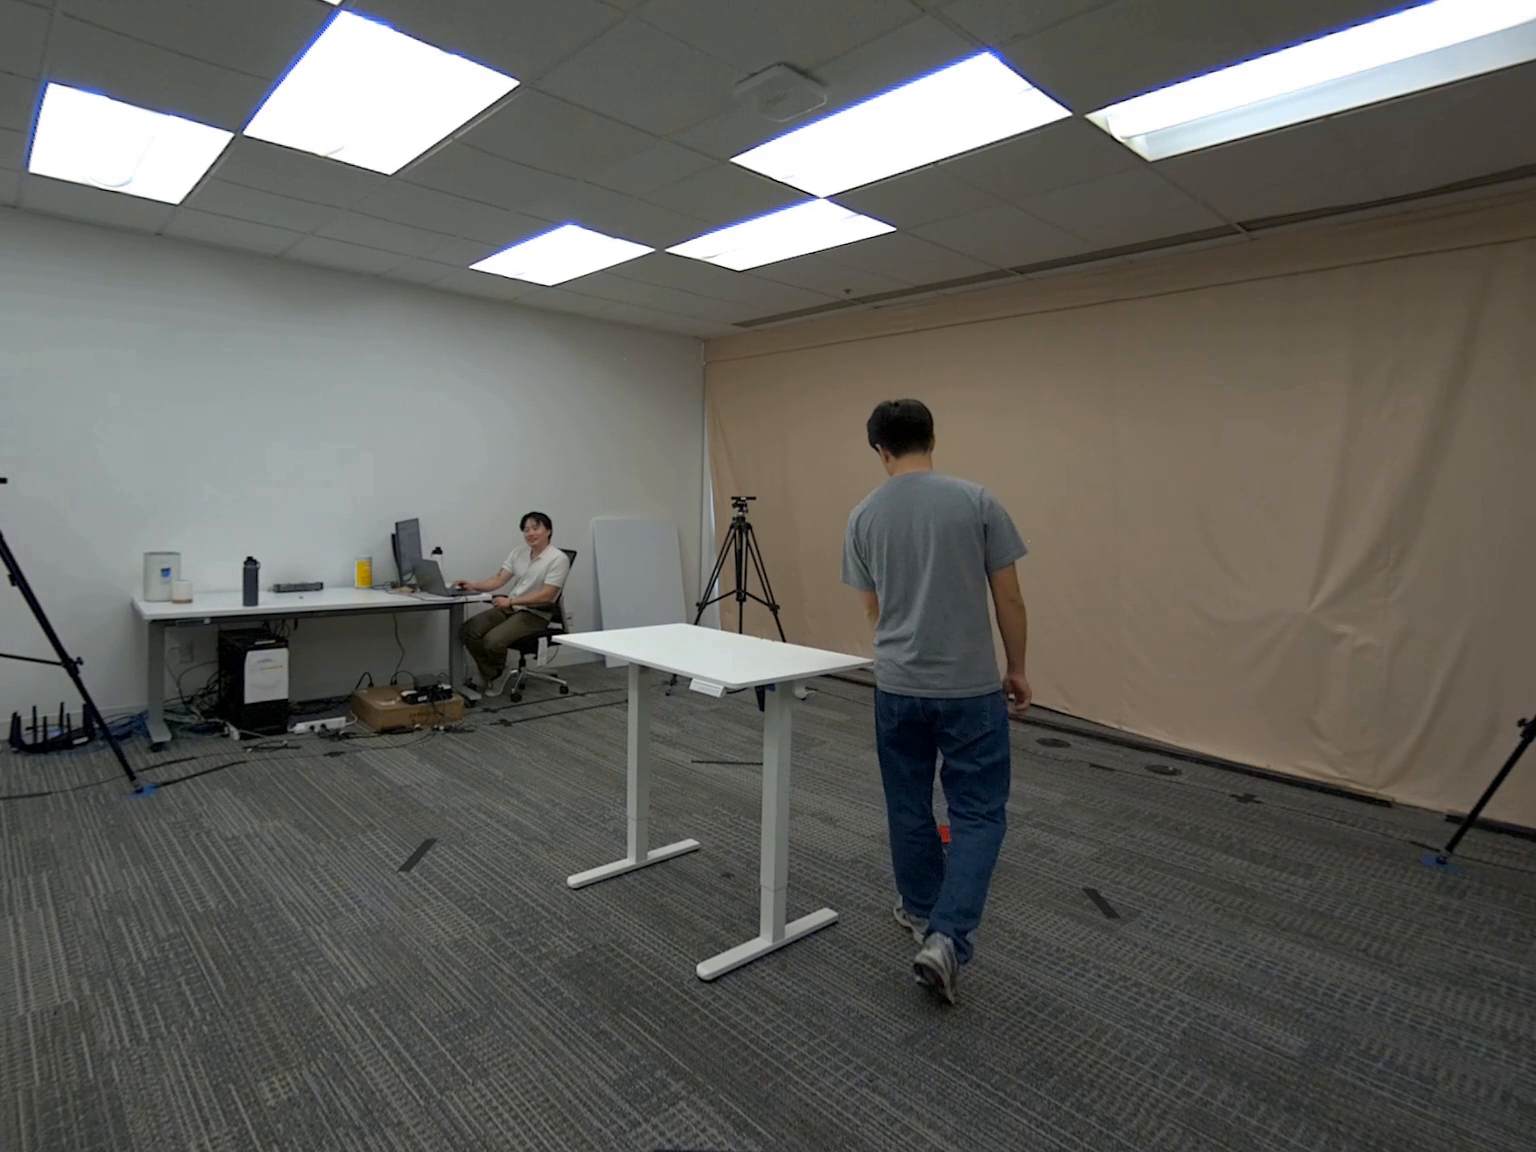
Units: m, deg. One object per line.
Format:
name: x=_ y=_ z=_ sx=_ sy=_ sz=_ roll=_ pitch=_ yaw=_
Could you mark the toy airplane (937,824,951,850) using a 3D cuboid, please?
toy airplane: x=0.730 y=1.055 z=3.187 sx=0.245 sy=0.156 sz=0.266 roll=-3 pitch=6 yaw=-40
